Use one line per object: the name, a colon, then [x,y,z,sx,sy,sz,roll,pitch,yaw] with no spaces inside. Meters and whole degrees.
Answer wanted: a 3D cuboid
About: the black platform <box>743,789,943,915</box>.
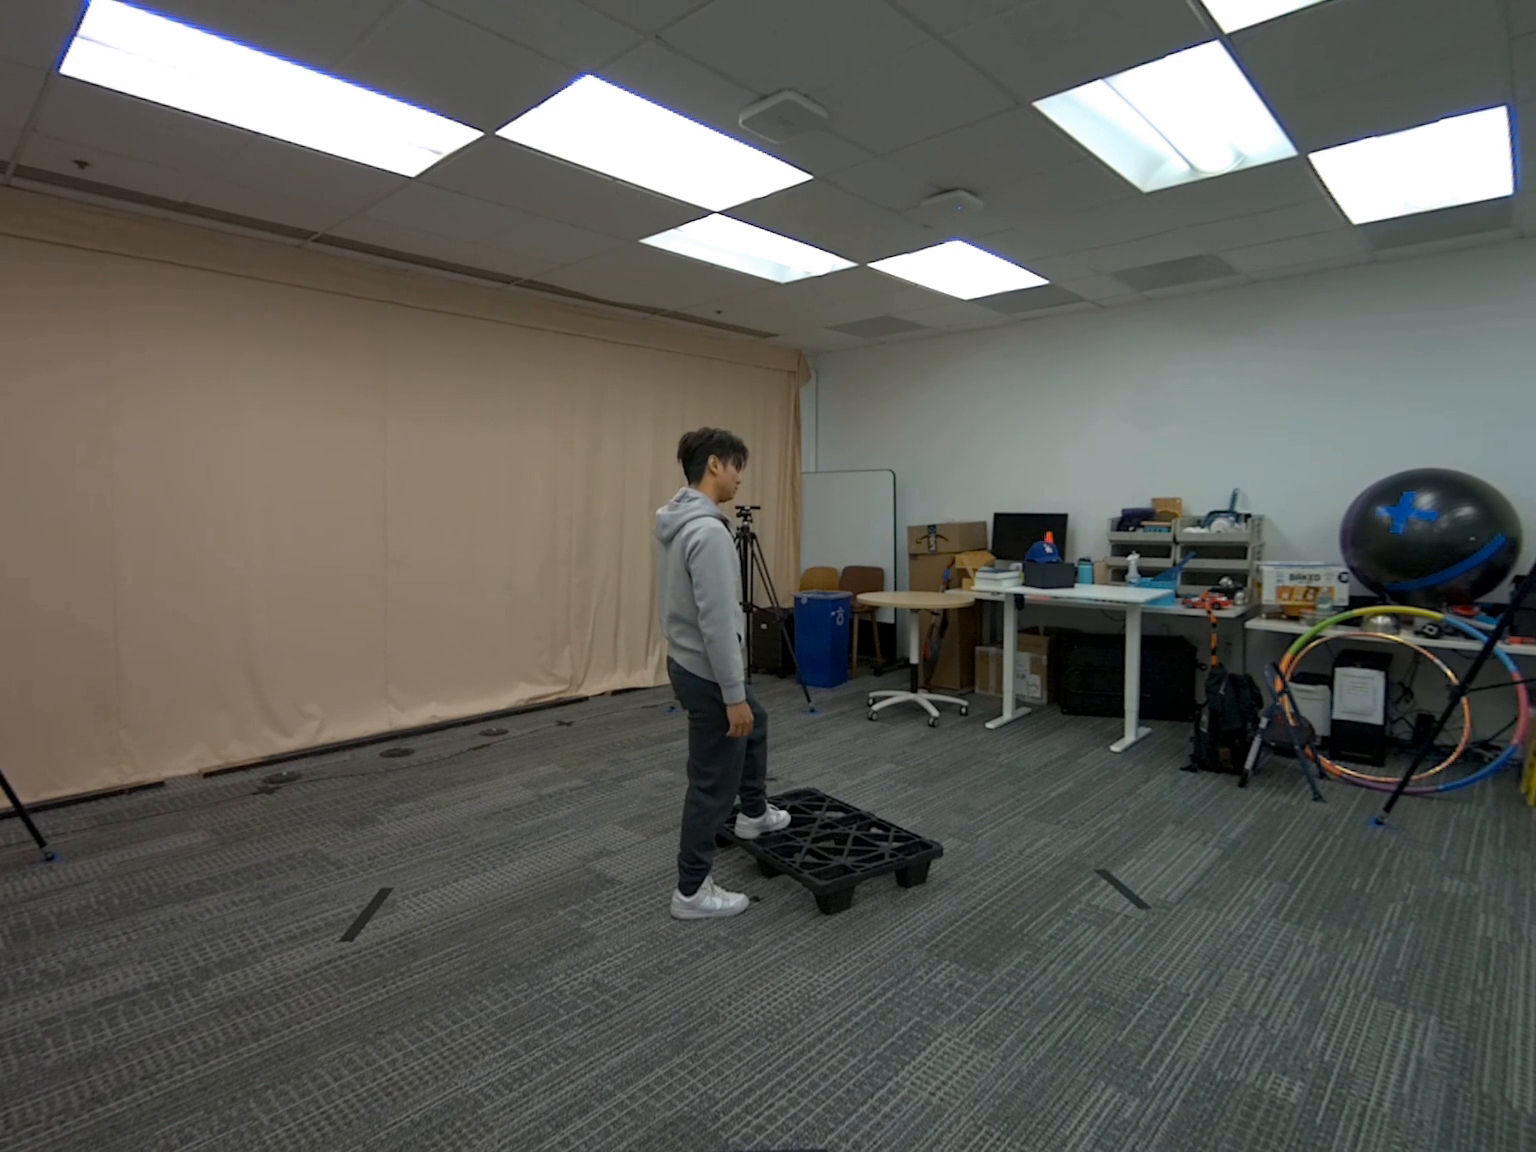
black platform: [0.182,1.052,3.277,0.588,0.143,0.831,-4,6,-34]
